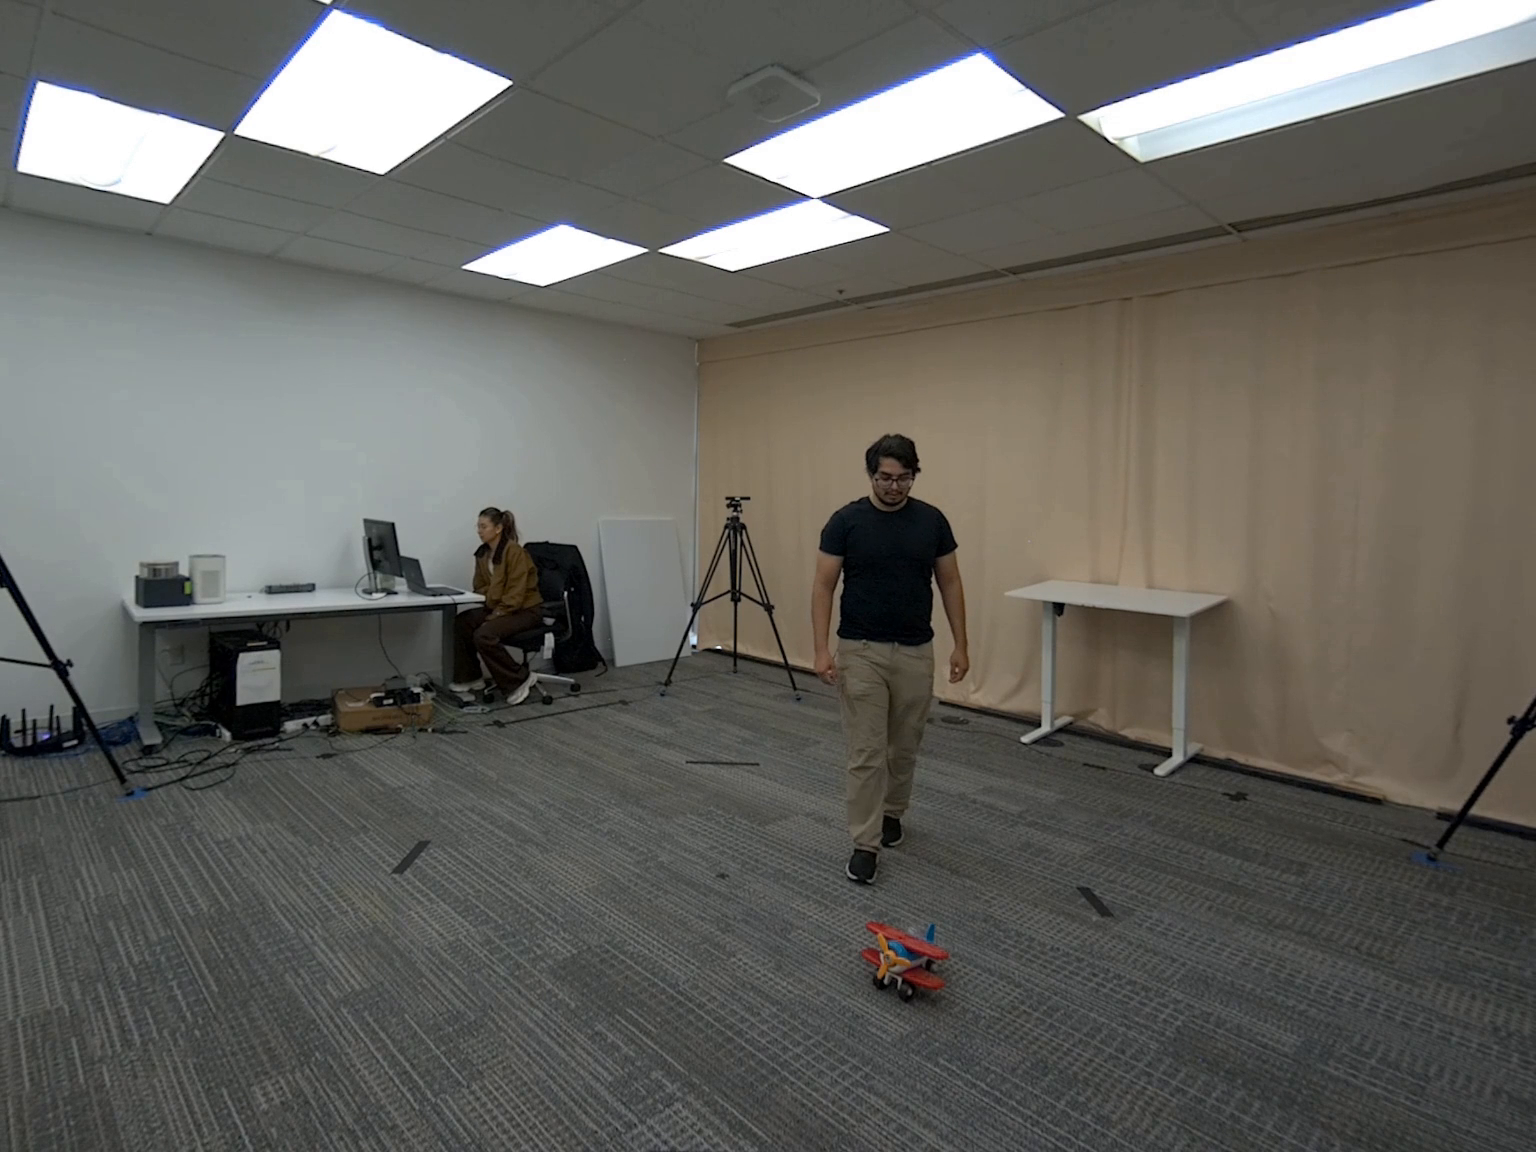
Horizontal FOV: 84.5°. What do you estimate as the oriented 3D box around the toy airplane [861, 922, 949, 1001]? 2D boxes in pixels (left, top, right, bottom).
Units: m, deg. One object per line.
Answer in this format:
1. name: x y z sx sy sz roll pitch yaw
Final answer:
1. toy airplane: 0.393 1.102 2.457 0.253 0.156 0.258 2 7 11
